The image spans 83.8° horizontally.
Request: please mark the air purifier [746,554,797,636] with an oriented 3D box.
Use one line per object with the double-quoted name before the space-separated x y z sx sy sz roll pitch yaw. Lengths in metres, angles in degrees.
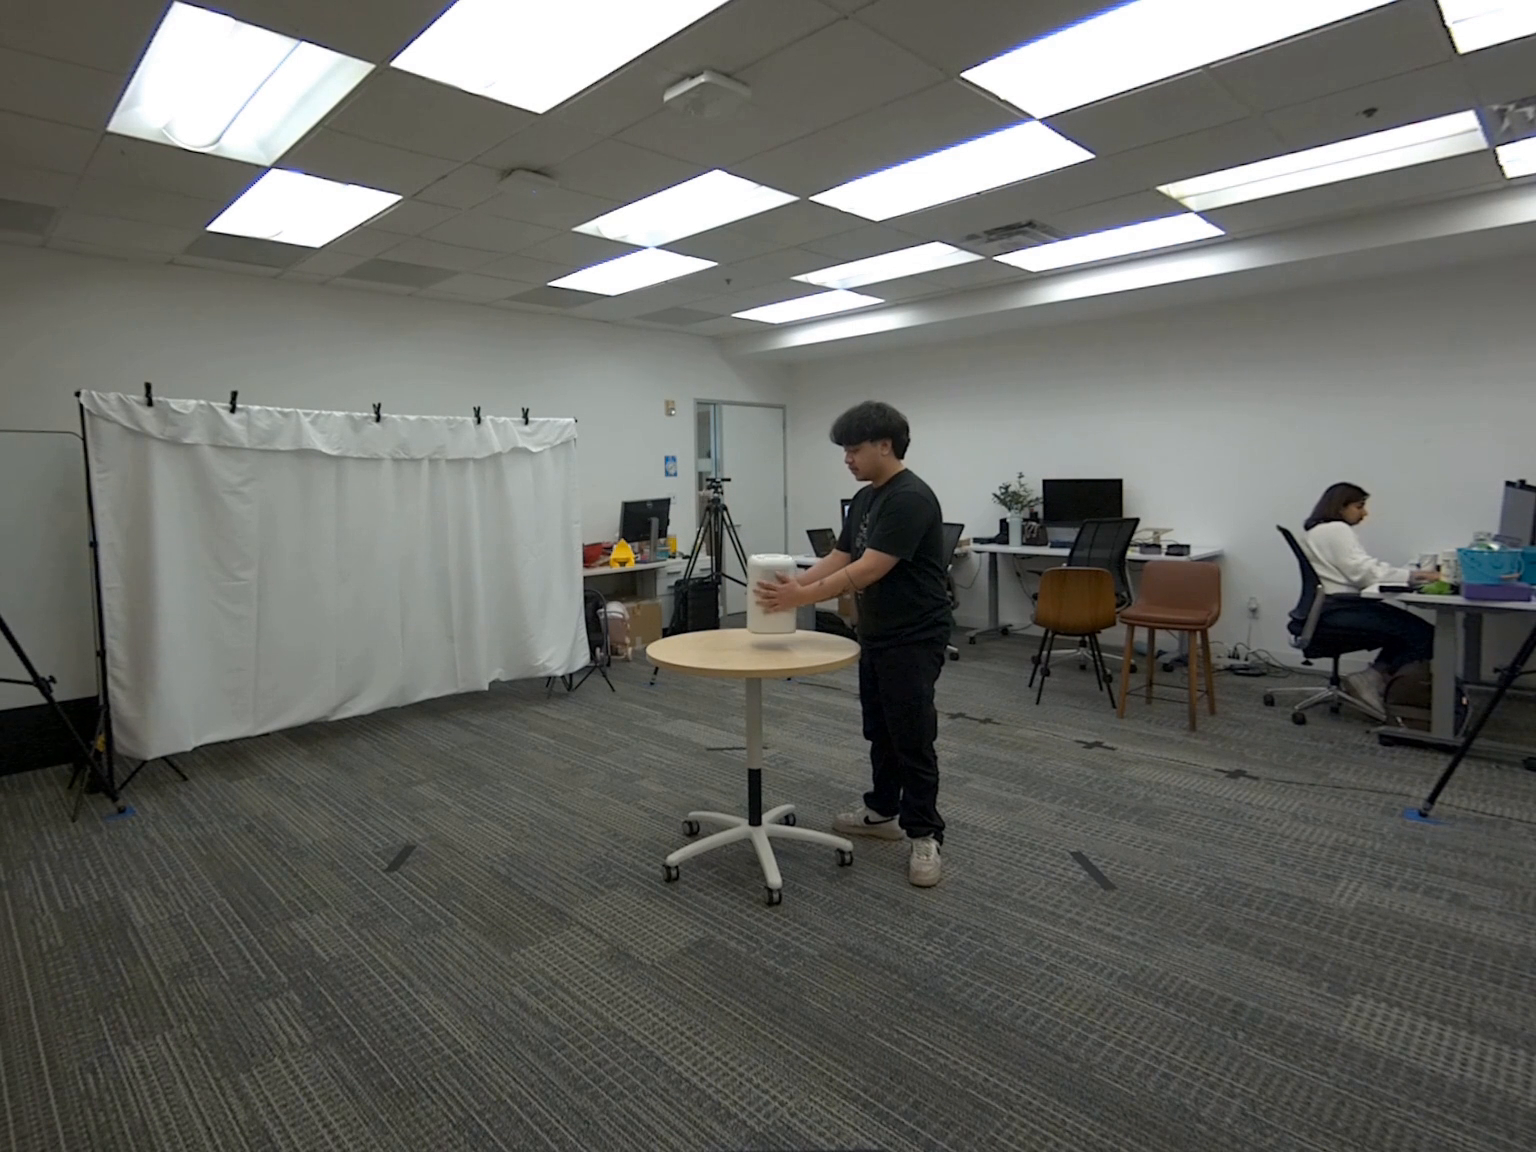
"air purifier" 0.019 0.058 3.048 0.171 0.264 0.172 -1 5 -3
